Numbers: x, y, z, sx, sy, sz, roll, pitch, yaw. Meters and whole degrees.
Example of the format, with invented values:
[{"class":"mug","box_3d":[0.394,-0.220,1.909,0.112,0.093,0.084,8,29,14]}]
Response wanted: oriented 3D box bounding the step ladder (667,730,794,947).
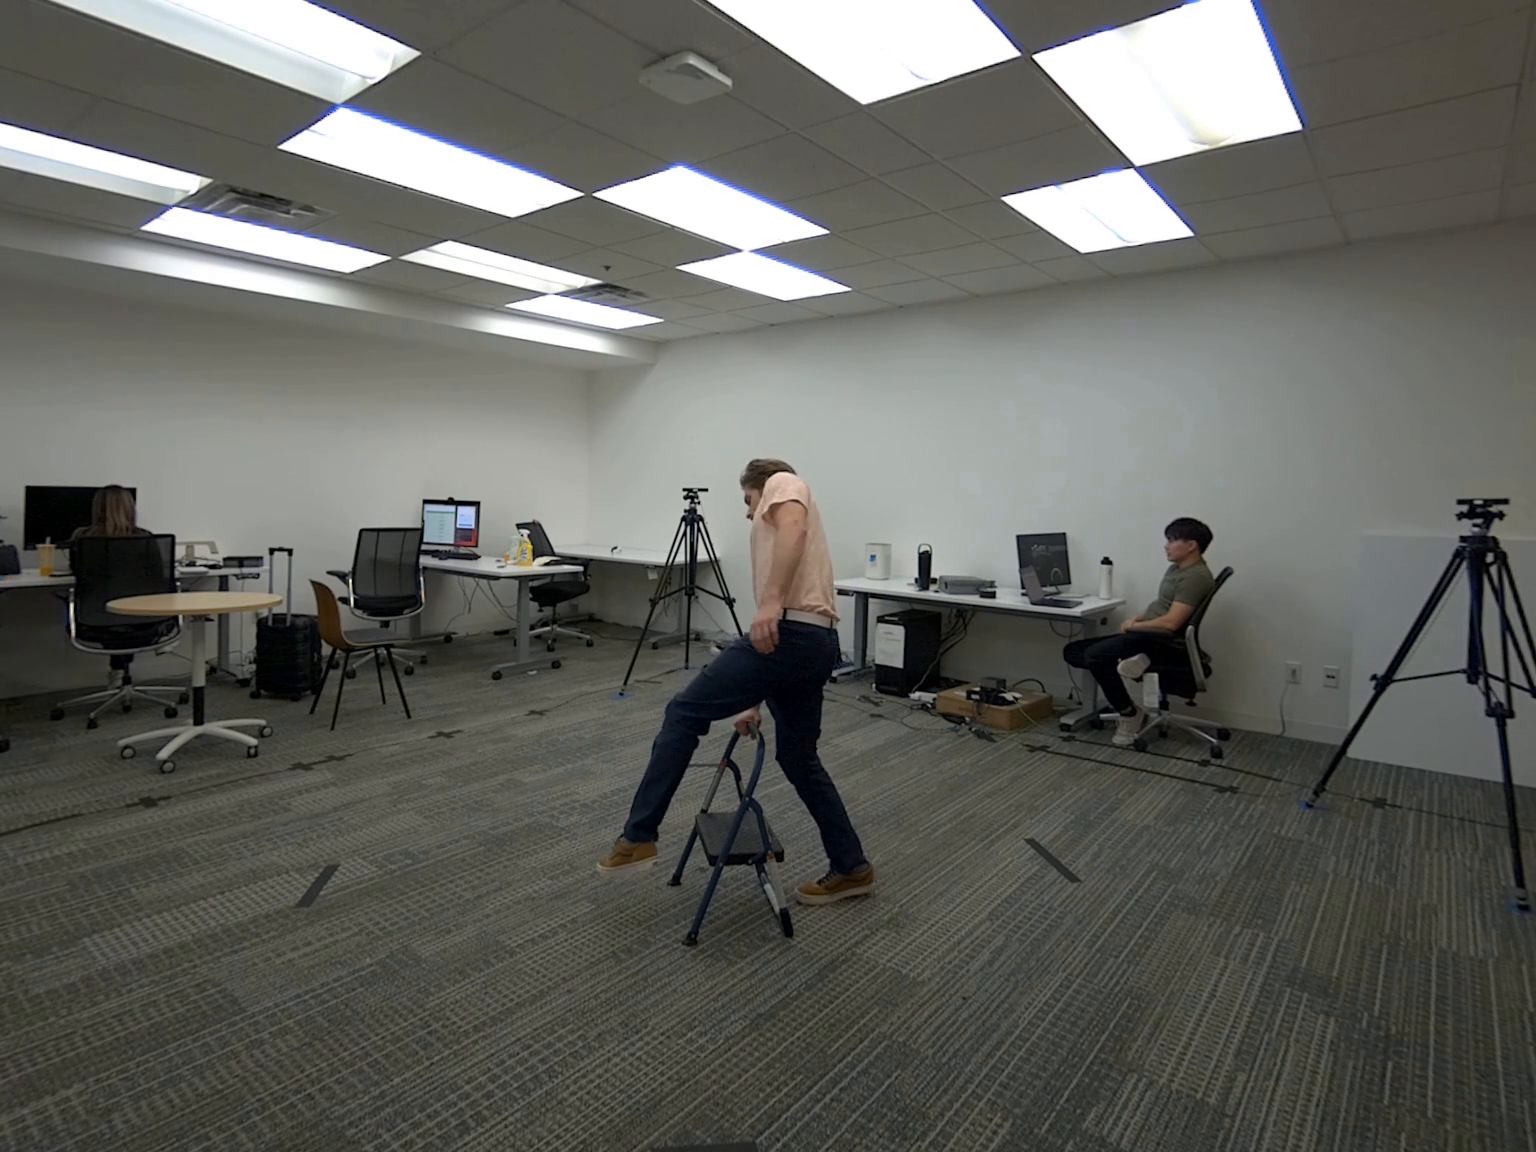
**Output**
[{"class":"step ladder","box_3d":[-0.131,0.801,2.801,0.345,0.604,0.438,1,4,-13]}]
